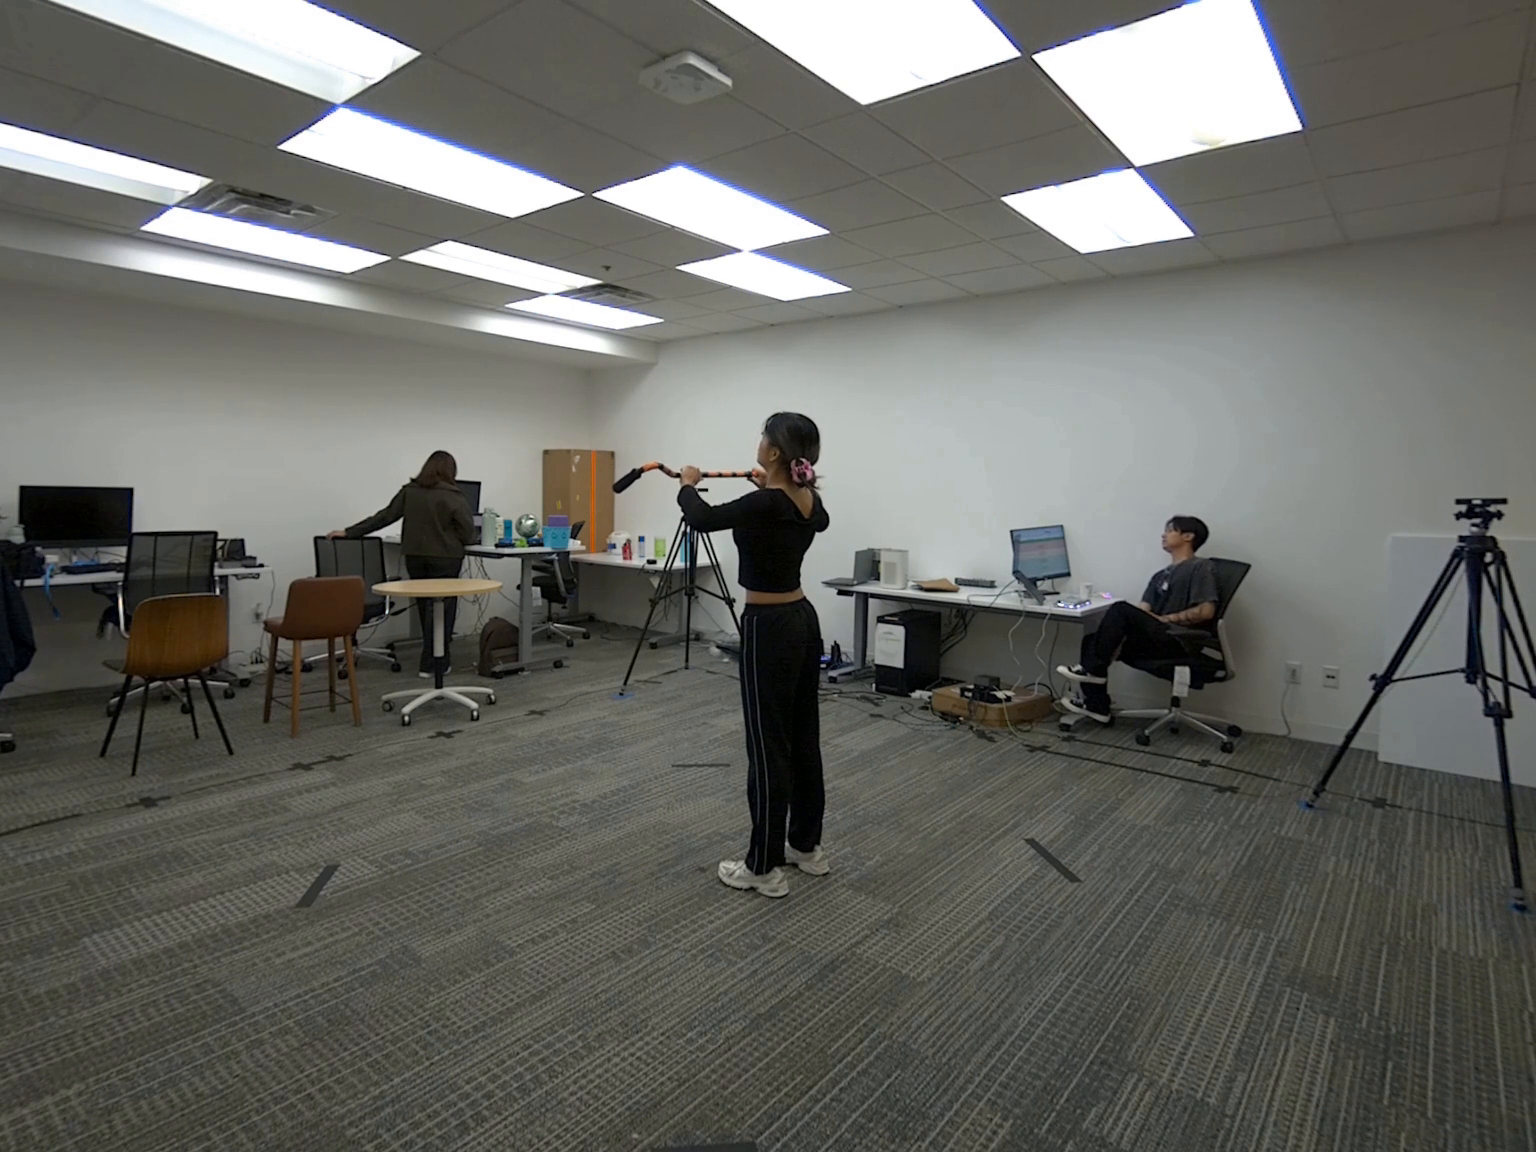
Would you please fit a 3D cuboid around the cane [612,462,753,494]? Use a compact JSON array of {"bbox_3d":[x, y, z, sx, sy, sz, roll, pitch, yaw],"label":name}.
[{"bbox_3d":[-0.190,-0.355,3.053,0.208,0.154,0.883,-32,-13,34],"label":"cane"}]
